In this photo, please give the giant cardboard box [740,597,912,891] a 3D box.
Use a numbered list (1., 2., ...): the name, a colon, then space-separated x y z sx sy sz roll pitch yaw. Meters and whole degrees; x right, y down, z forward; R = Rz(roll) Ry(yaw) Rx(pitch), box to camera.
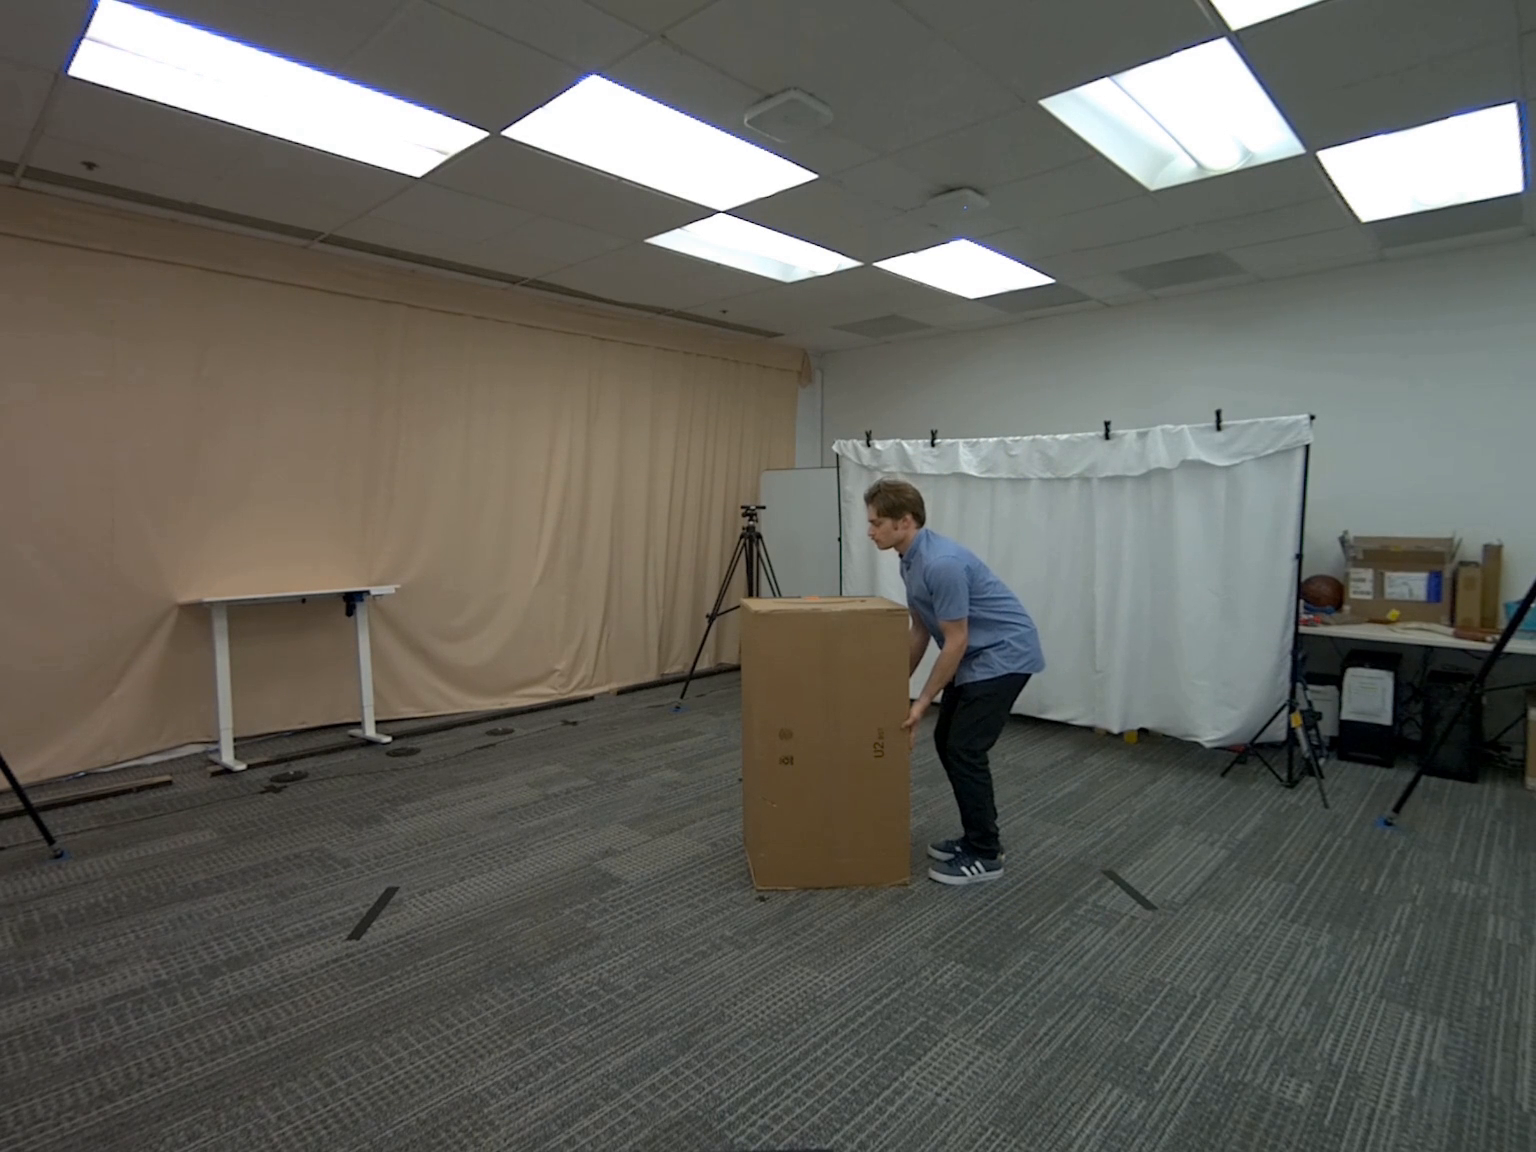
1. giant cardboard box: 0.208 0.615 3.255 0.575 1.024 0.429 0 3 -5
